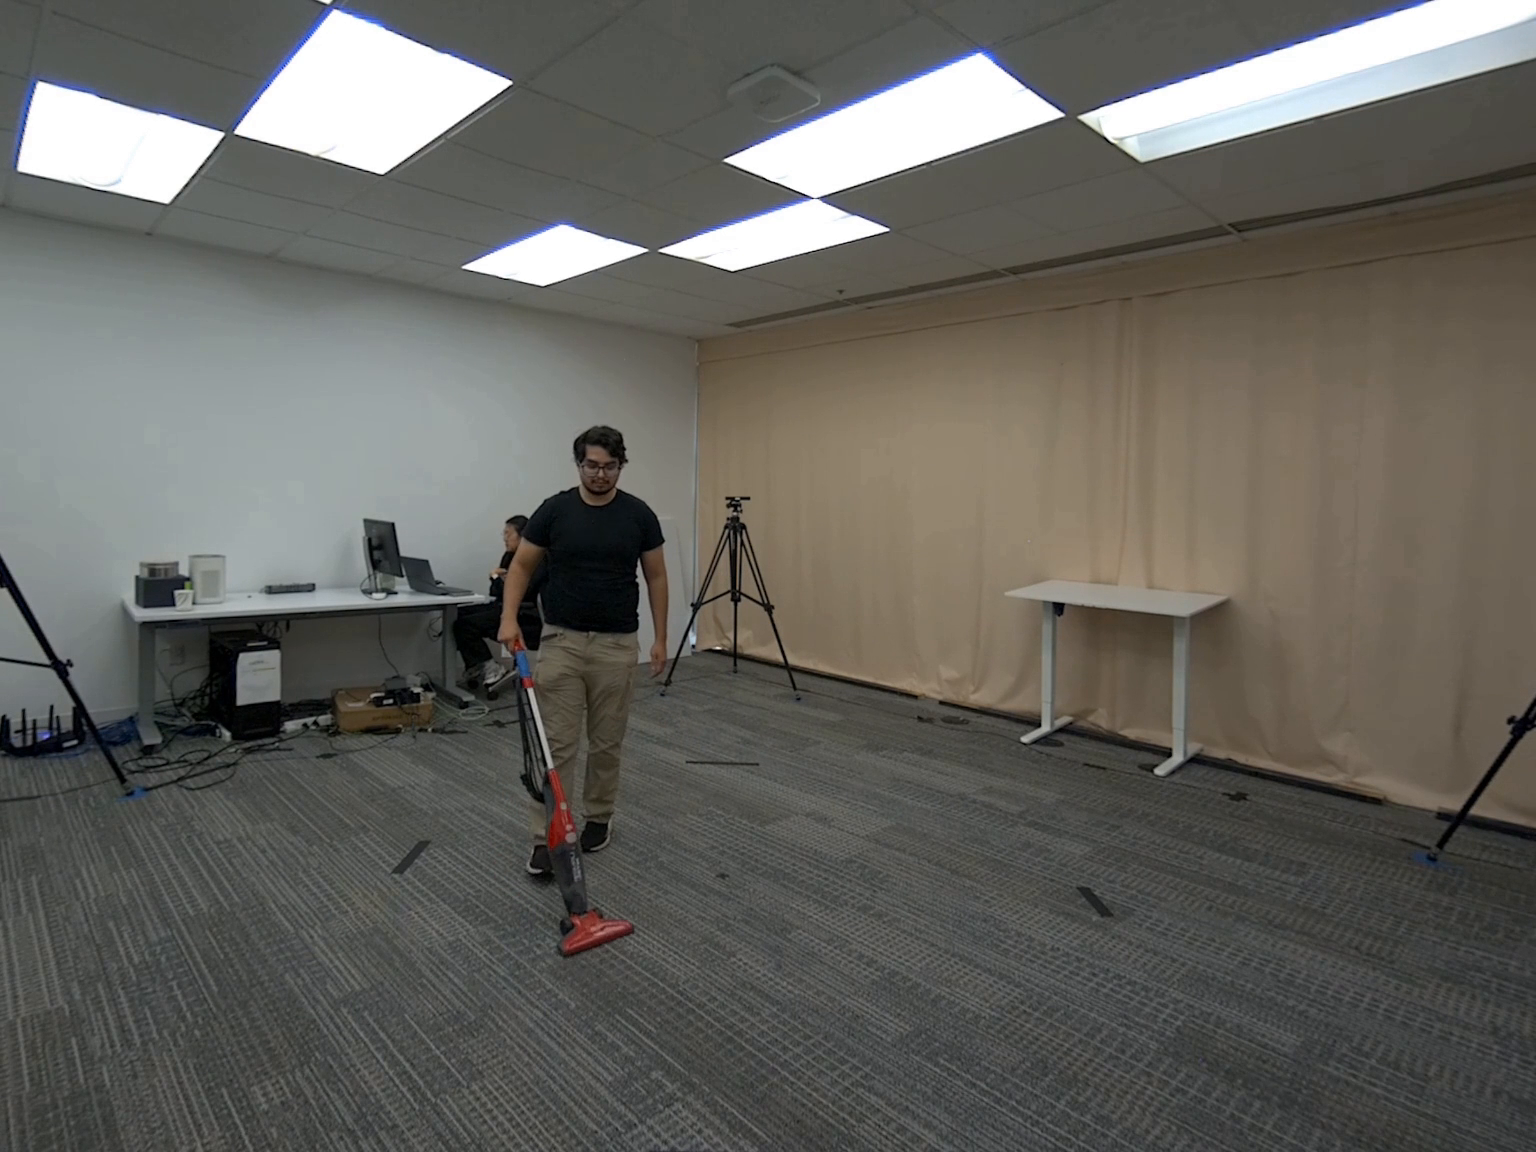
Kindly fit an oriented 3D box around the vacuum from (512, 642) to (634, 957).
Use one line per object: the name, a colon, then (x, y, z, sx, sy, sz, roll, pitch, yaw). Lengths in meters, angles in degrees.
vacuum: (-0.755, 0.681, 2.854, 0.247, 1.071, 0.144, -3, -29, -39)
